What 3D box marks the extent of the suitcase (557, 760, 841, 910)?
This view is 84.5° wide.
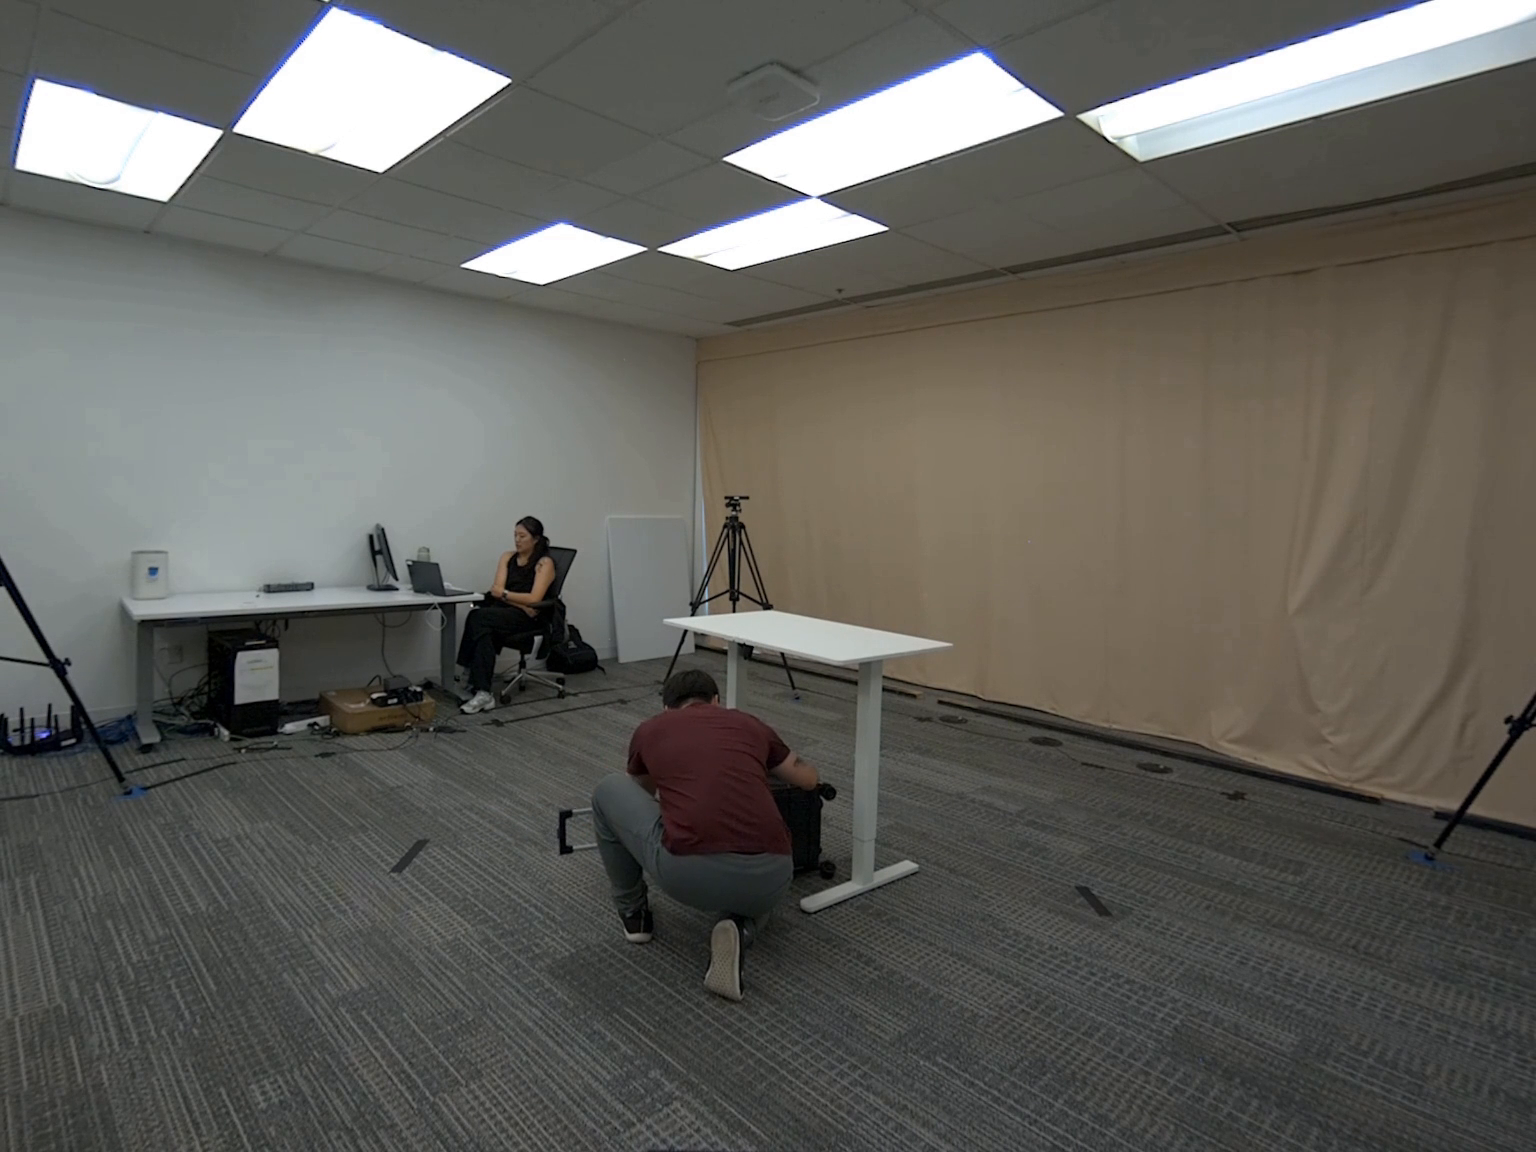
[{"bbox_3d":[-0.248,0.911,3.062,0.964,0.384,0.261,1,1,-18],"label":"suitcase"}]
